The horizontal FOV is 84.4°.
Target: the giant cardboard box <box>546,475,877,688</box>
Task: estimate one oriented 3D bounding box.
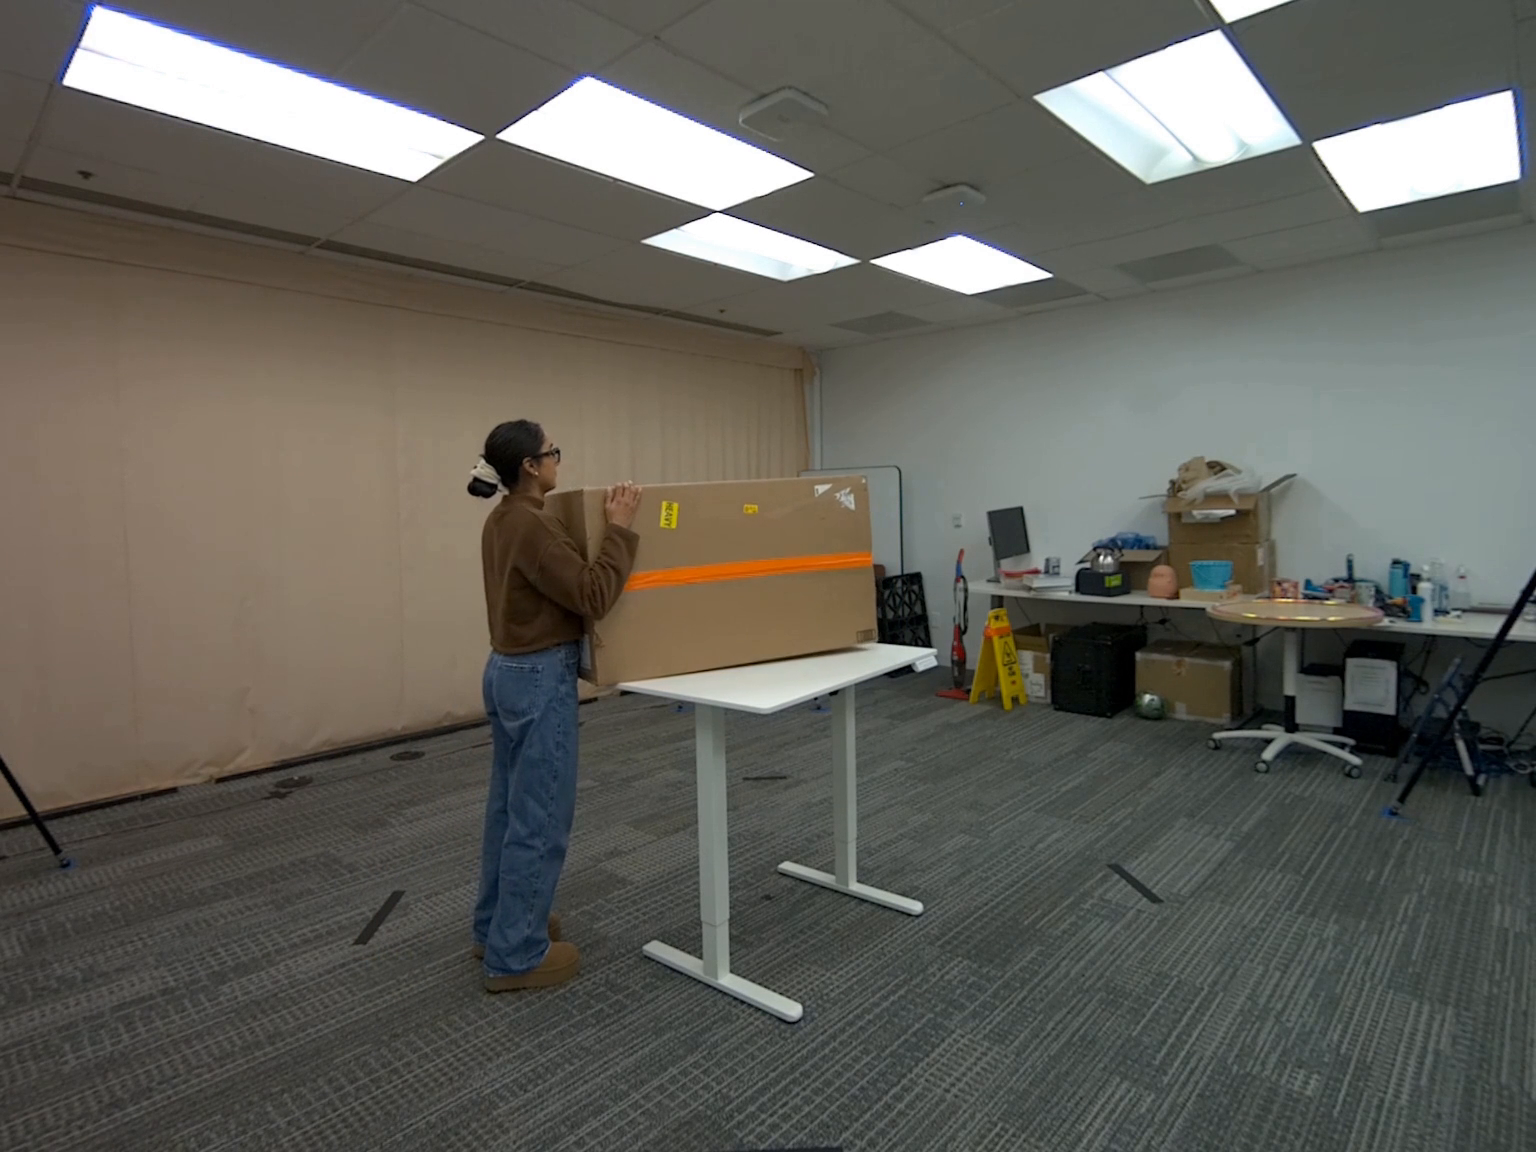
[{"bbox_3d":[-0.179,-0.018,2.840,1.000,0.576,0.438,-6,3,-29],"label":"giant cardboard box"}]
